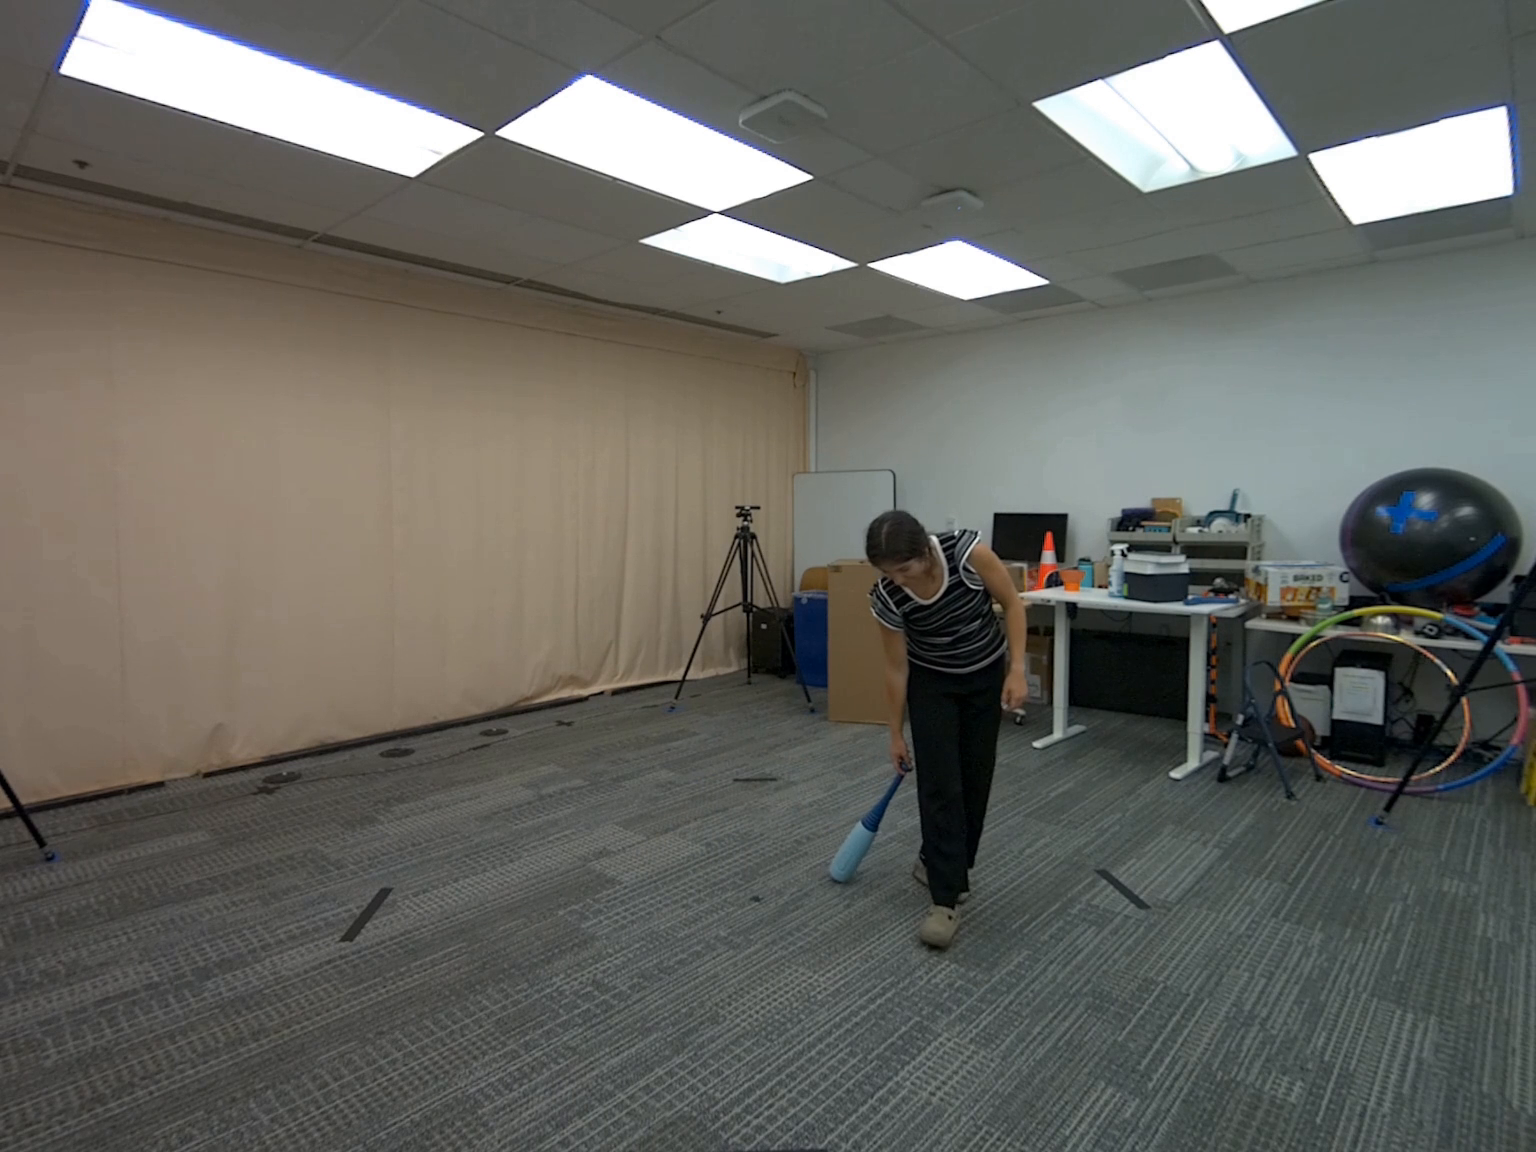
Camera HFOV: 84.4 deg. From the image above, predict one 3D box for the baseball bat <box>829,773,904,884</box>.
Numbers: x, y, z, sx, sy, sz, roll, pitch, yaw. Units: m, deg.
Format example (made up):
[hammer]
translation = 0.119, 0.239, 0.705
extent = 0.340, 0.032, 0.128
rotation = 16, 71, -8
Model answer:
[baseball bat]
translation = 0.383, 0.892, 3.047
extent = 0.088, 0.542, 0.090
rotation = 24, 19, -11
